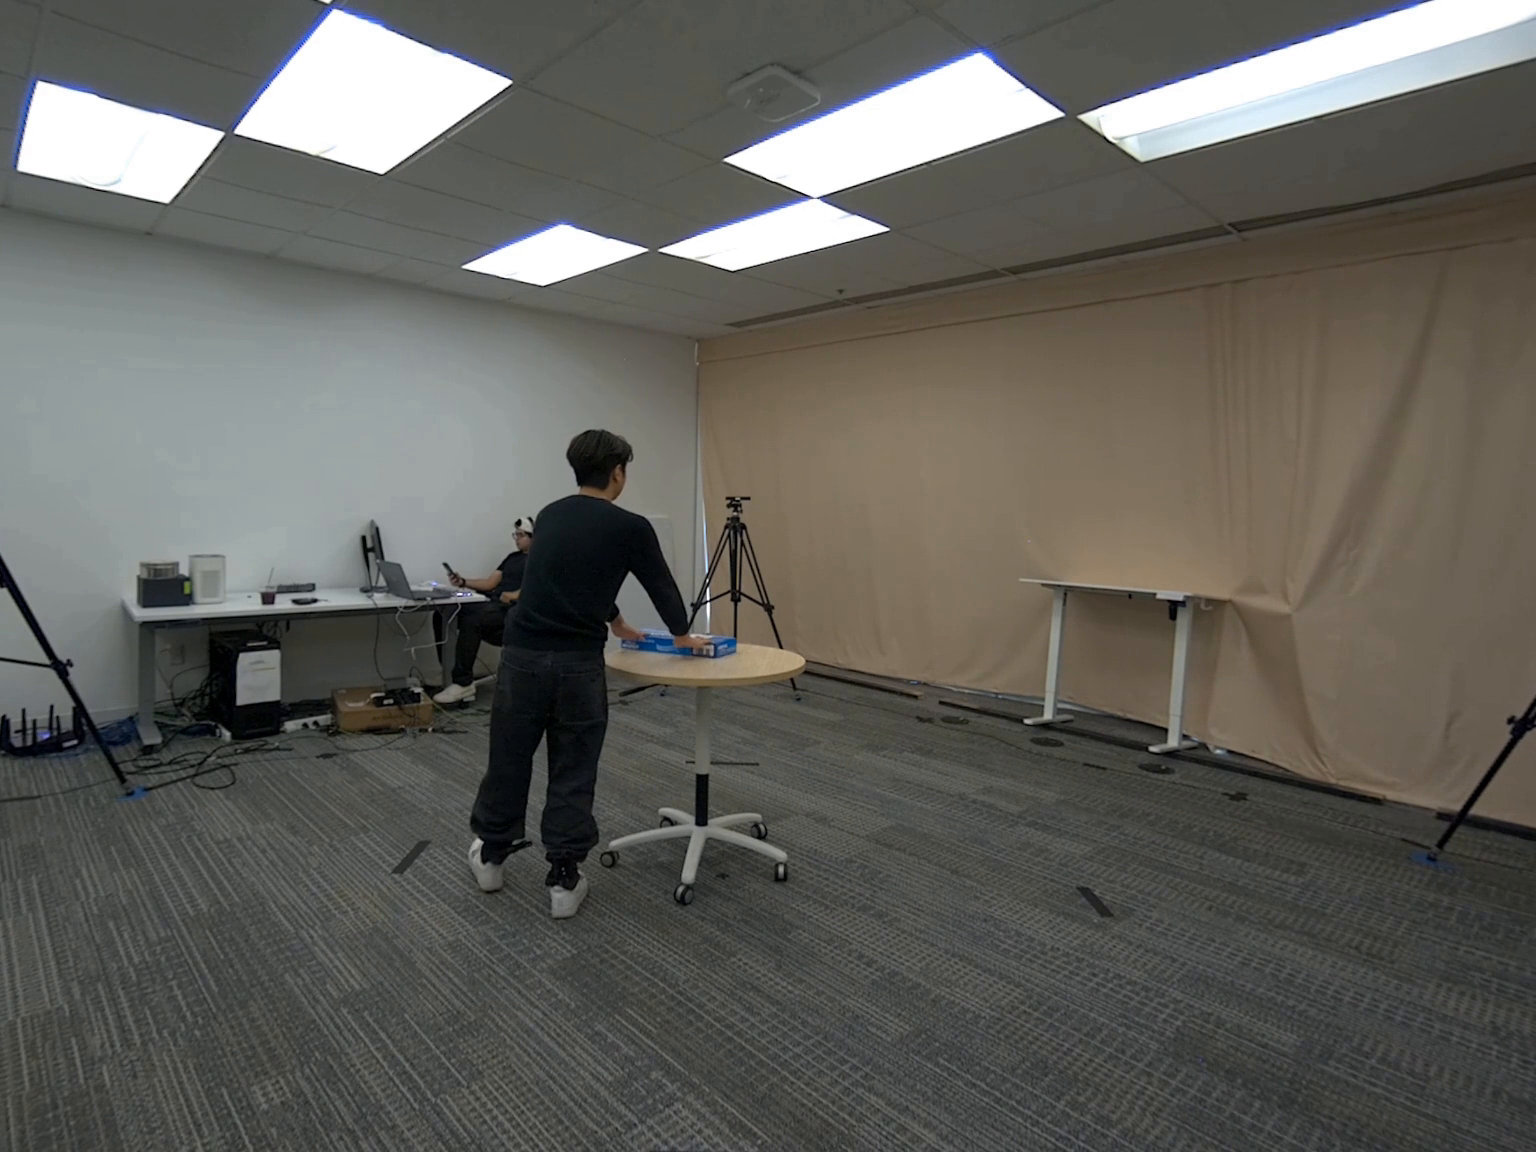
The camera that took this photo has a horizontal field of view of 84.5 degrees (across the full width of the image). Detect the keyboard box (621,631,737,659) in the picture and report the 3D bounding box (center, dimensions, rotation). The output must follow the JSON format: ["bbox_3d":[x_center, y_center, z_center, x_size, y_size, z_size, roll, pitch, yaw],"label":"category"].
[{"bbox_3d":[-0.369,0.269,3.360,0.446,0.059,0.173,4,5,27],"label":"keyboard box"}]
